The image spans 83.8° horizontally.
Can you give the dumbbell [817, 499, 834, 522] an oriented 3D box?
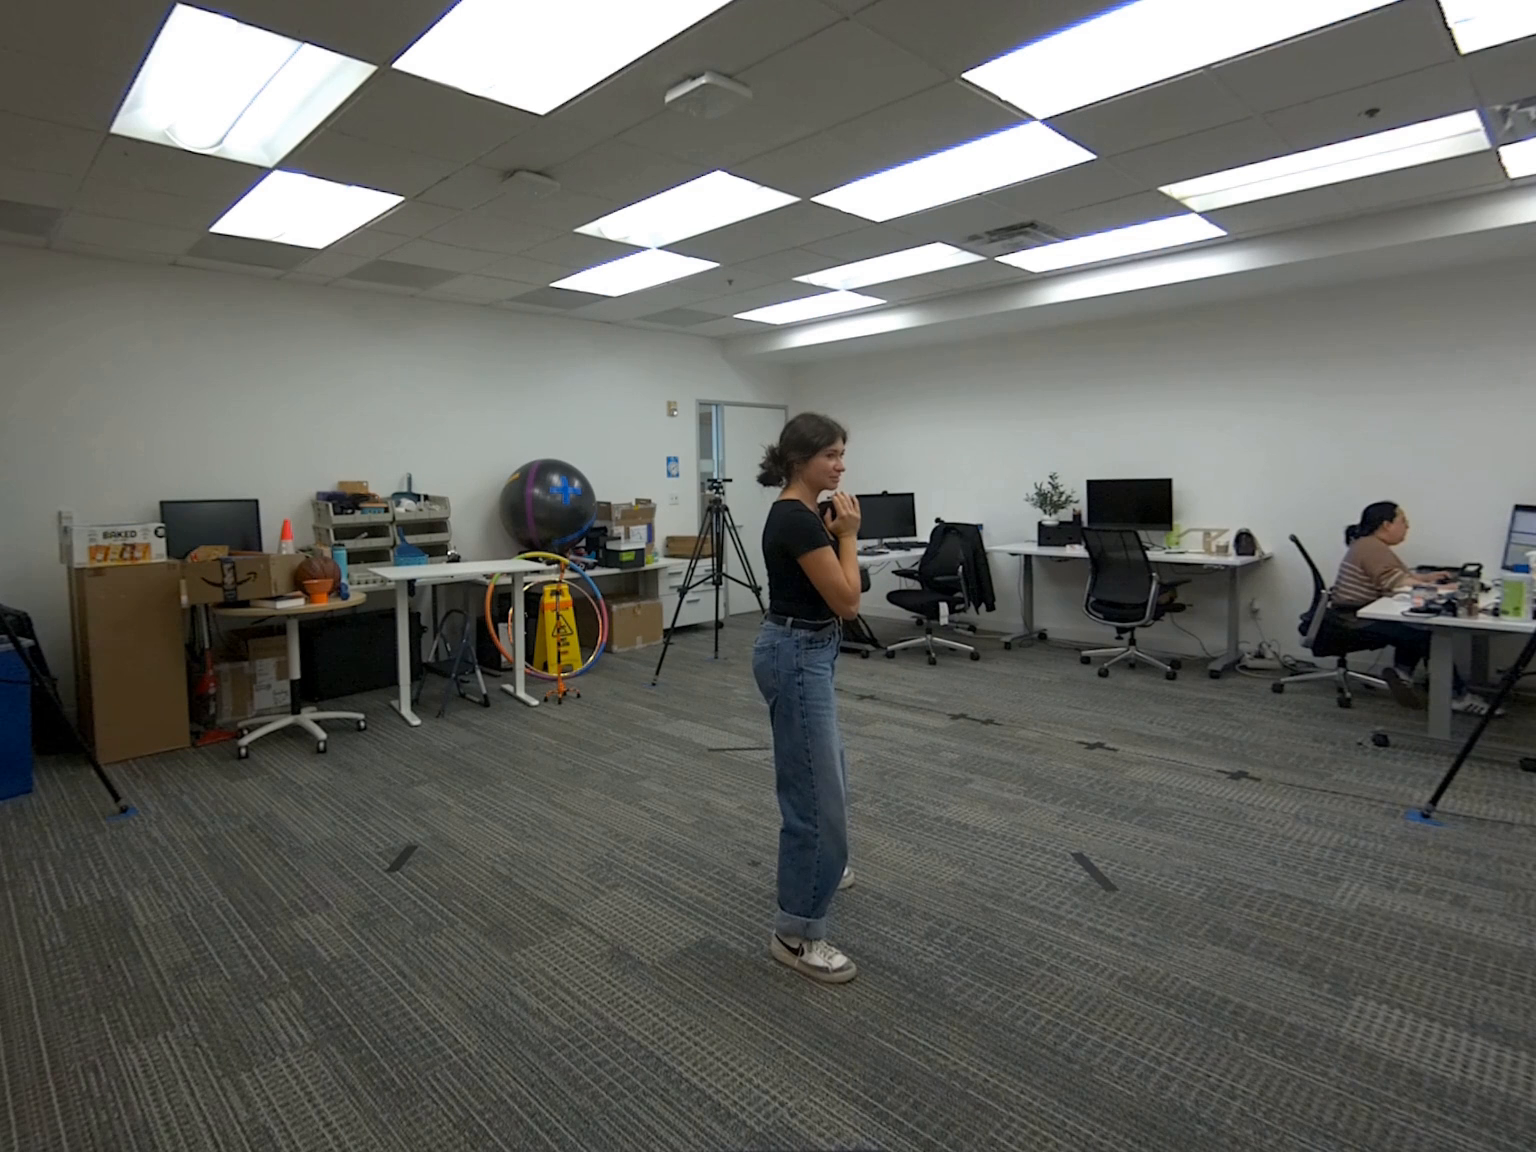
[{"bbox_3d":[0.220,-0.086,2.581,0.106,0.293,0.126,-12,3,-37],"label":"dumbbell"}]
